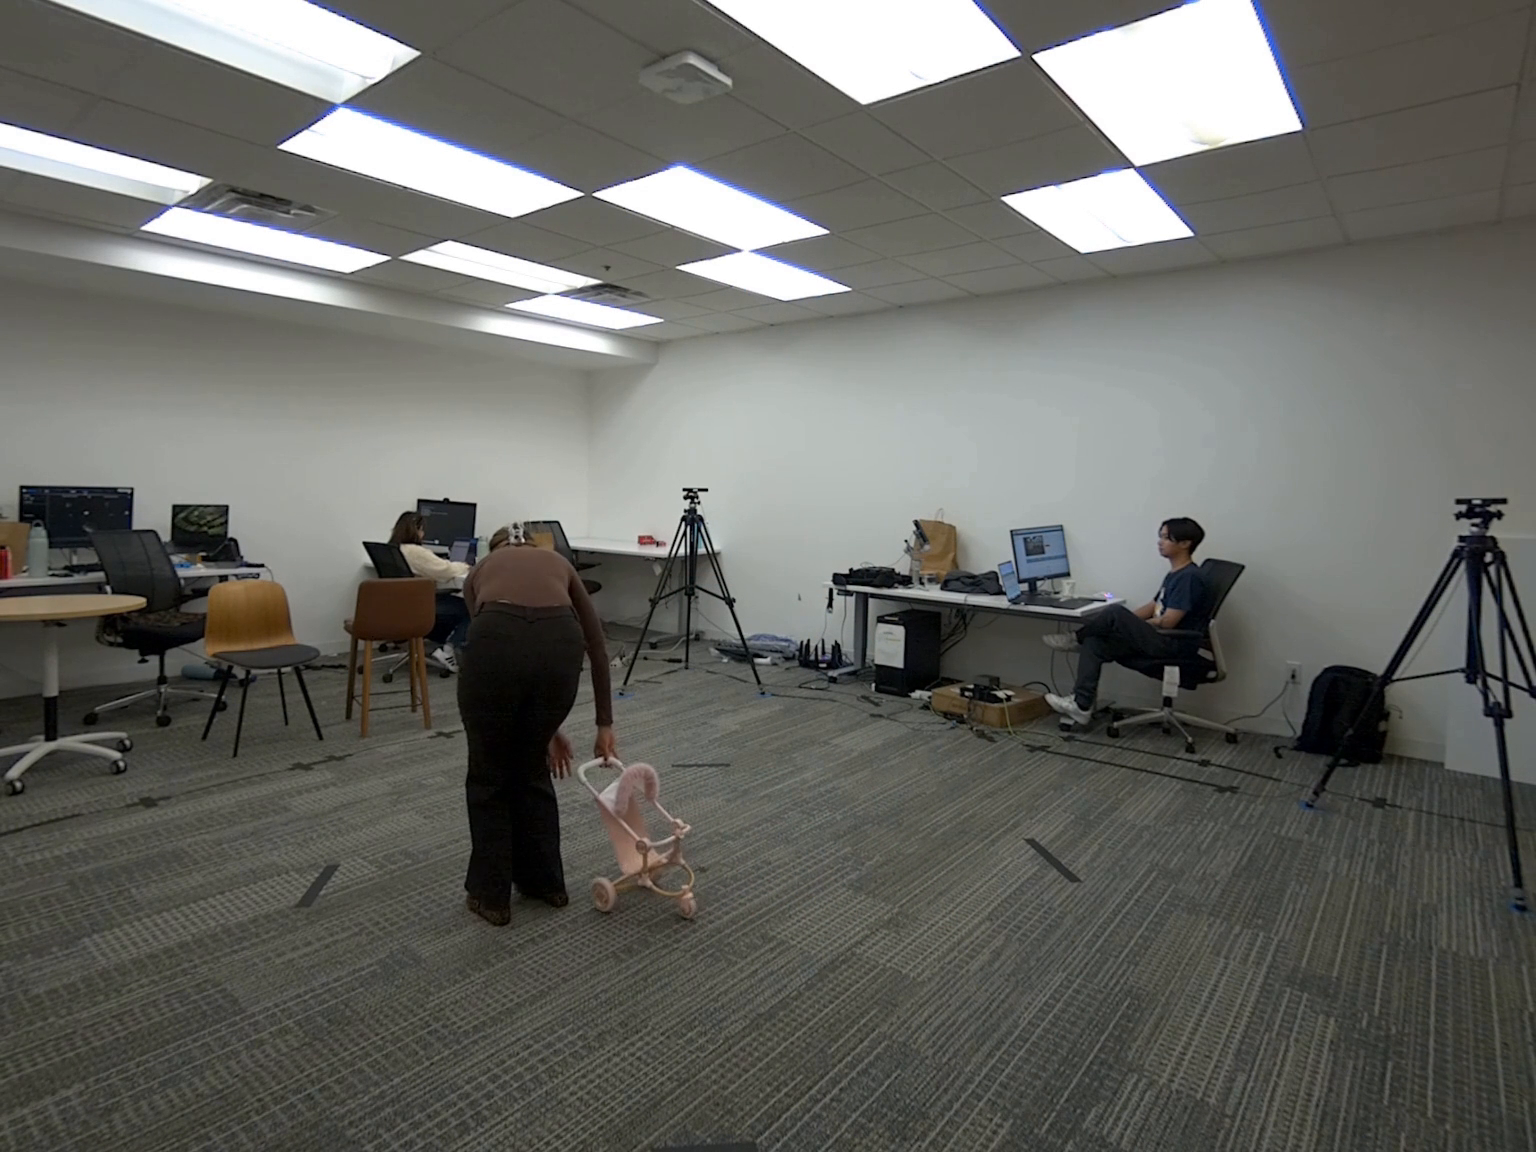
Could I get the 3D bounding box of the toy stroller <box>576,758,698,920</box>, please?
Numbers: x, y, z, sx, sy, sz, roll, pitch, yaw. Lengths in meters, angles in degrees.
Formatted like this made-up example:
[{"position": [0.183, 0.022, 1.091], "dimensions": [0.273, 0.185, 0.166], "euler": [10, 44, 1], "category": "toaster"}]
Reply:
[{"position": [-0.432, 0.870, 2.838], "dimensions": [0.348, 0.539, 0.273], "euler": [-16, -7, 35], "category": "toy stroller"}]
